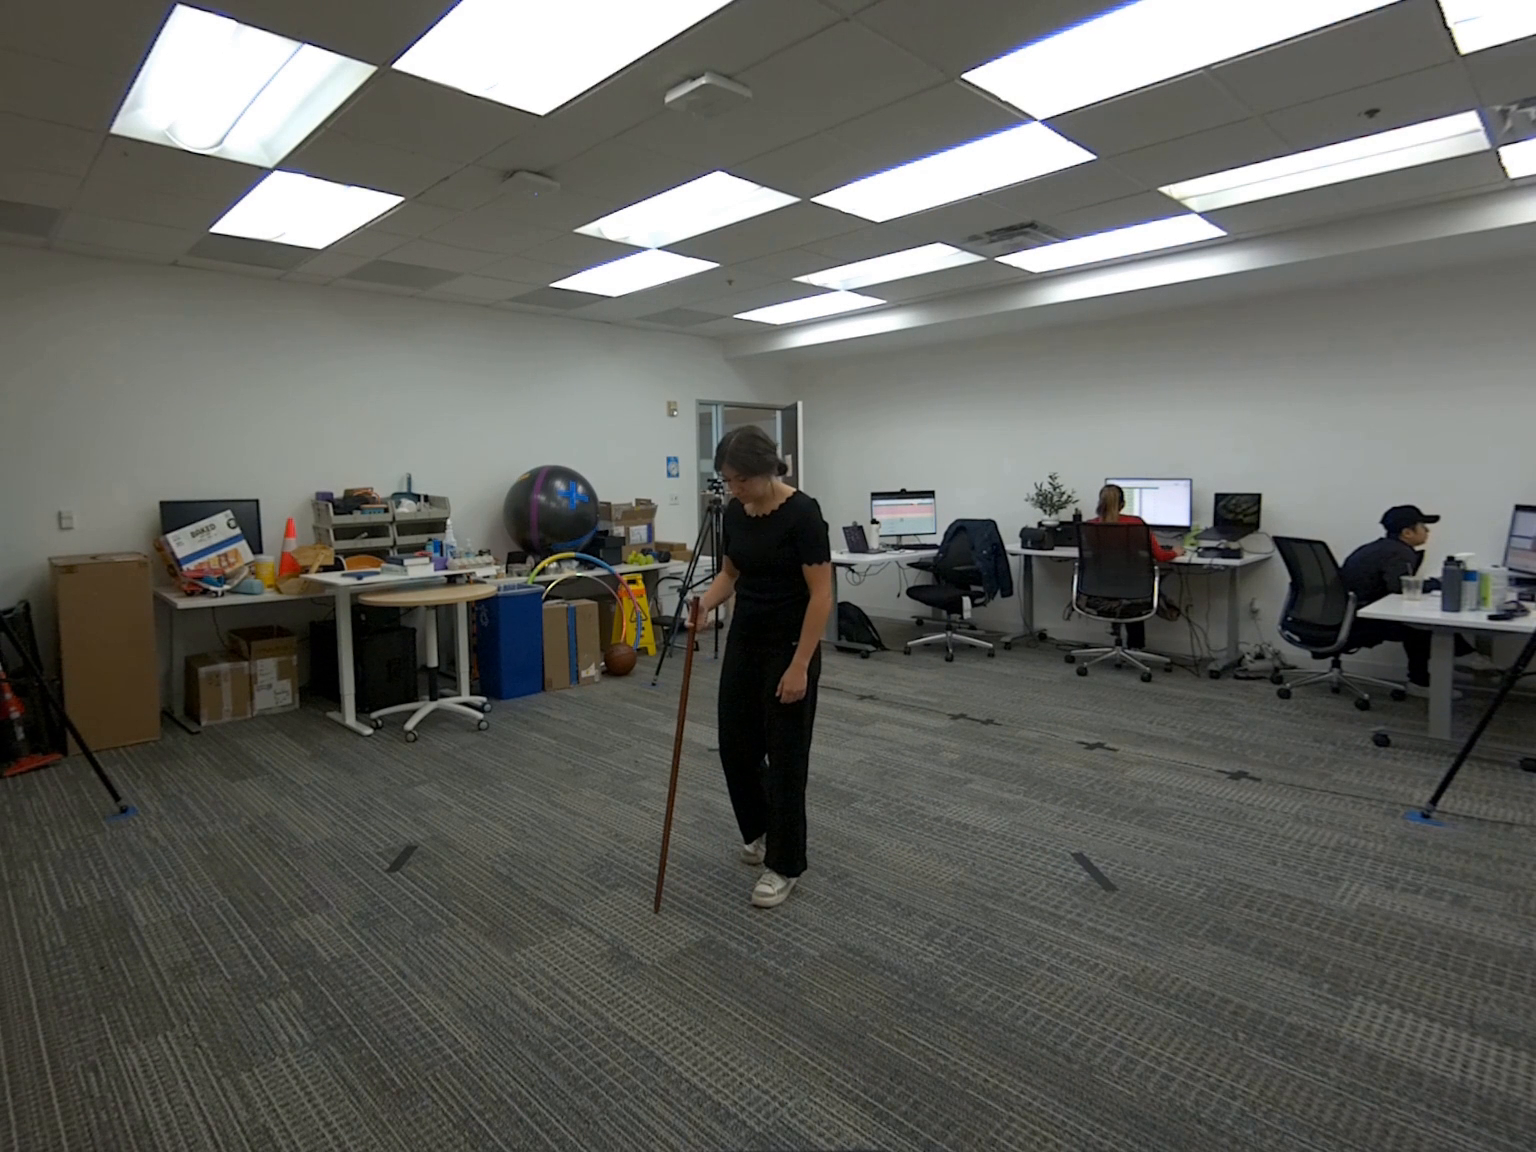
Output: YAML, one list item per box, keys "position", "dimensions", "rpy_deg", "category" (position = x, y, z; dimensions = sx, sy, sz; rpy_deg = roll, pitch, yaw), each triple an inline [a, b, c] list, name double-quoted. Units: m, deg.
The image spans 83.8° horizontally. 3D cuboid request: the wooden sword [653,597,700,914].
- position: [-0.291, 0.601, 2.792]
  dimensions: [0.053, 1.026, 0.023]
  rpy_deg: [6, -3, 39]
  category: "wooden sword"
